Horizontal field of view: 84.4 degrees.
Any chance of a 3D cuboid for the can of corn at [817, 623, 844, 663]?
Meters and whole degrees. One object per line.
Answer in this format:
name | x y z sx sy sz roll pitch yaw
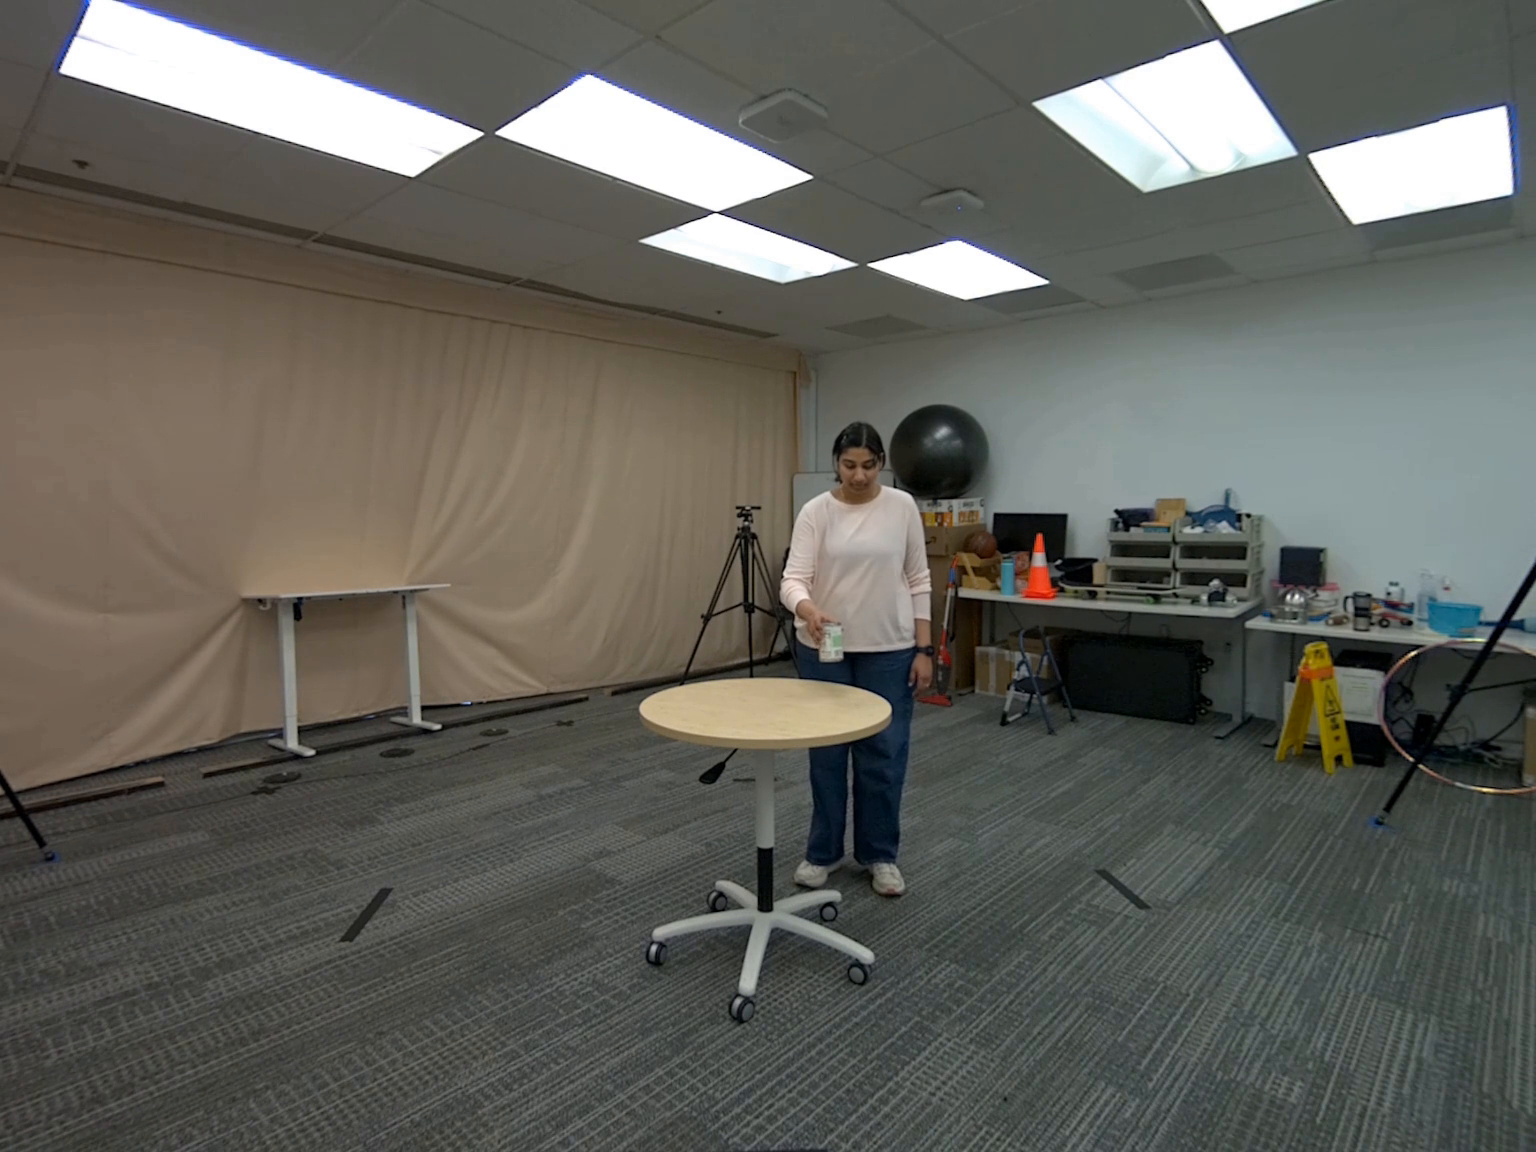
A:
can of corn | 0.184 0.211 2.629 0.074 0.111 0.074 0 2 -2
